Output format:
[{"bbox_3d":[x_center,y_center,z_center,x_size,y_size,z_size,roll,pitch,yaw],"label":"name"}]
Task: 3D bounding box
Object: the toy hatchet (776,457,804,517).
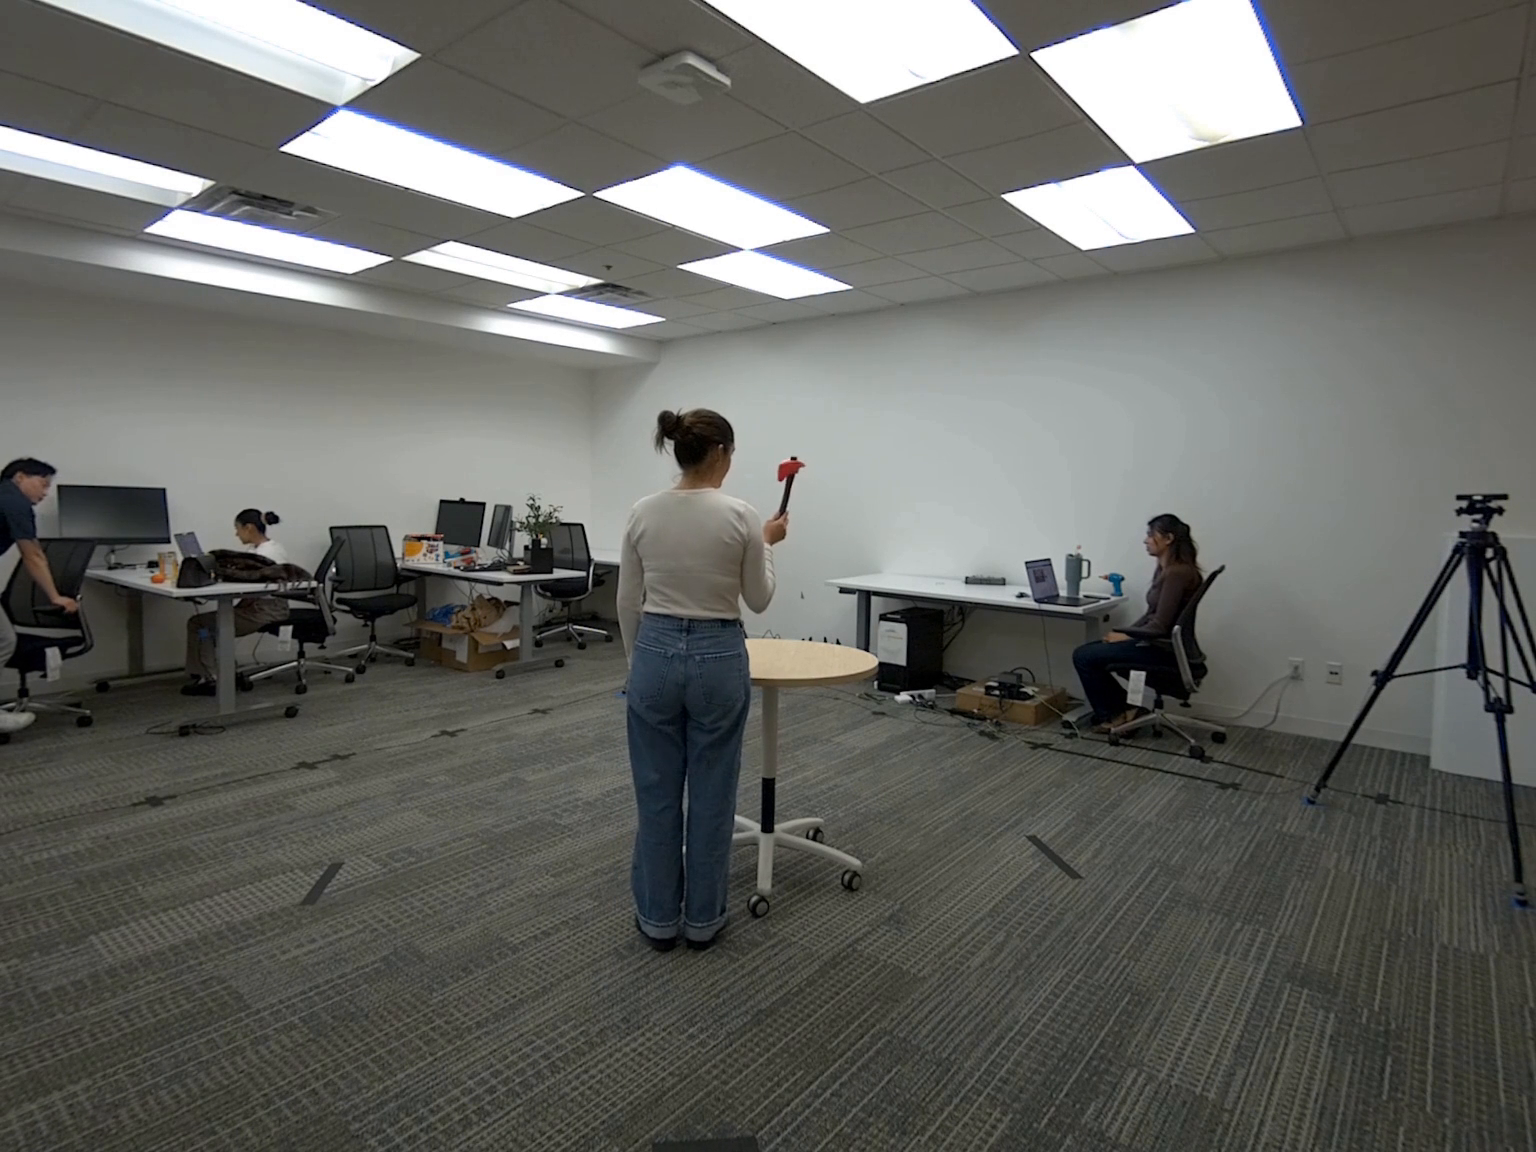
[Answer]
[{"bbox_3d":[0.027,-0.262,2.722,0.031,0.270,0.126,24,0,32],"label":"toy hatchet"}]
